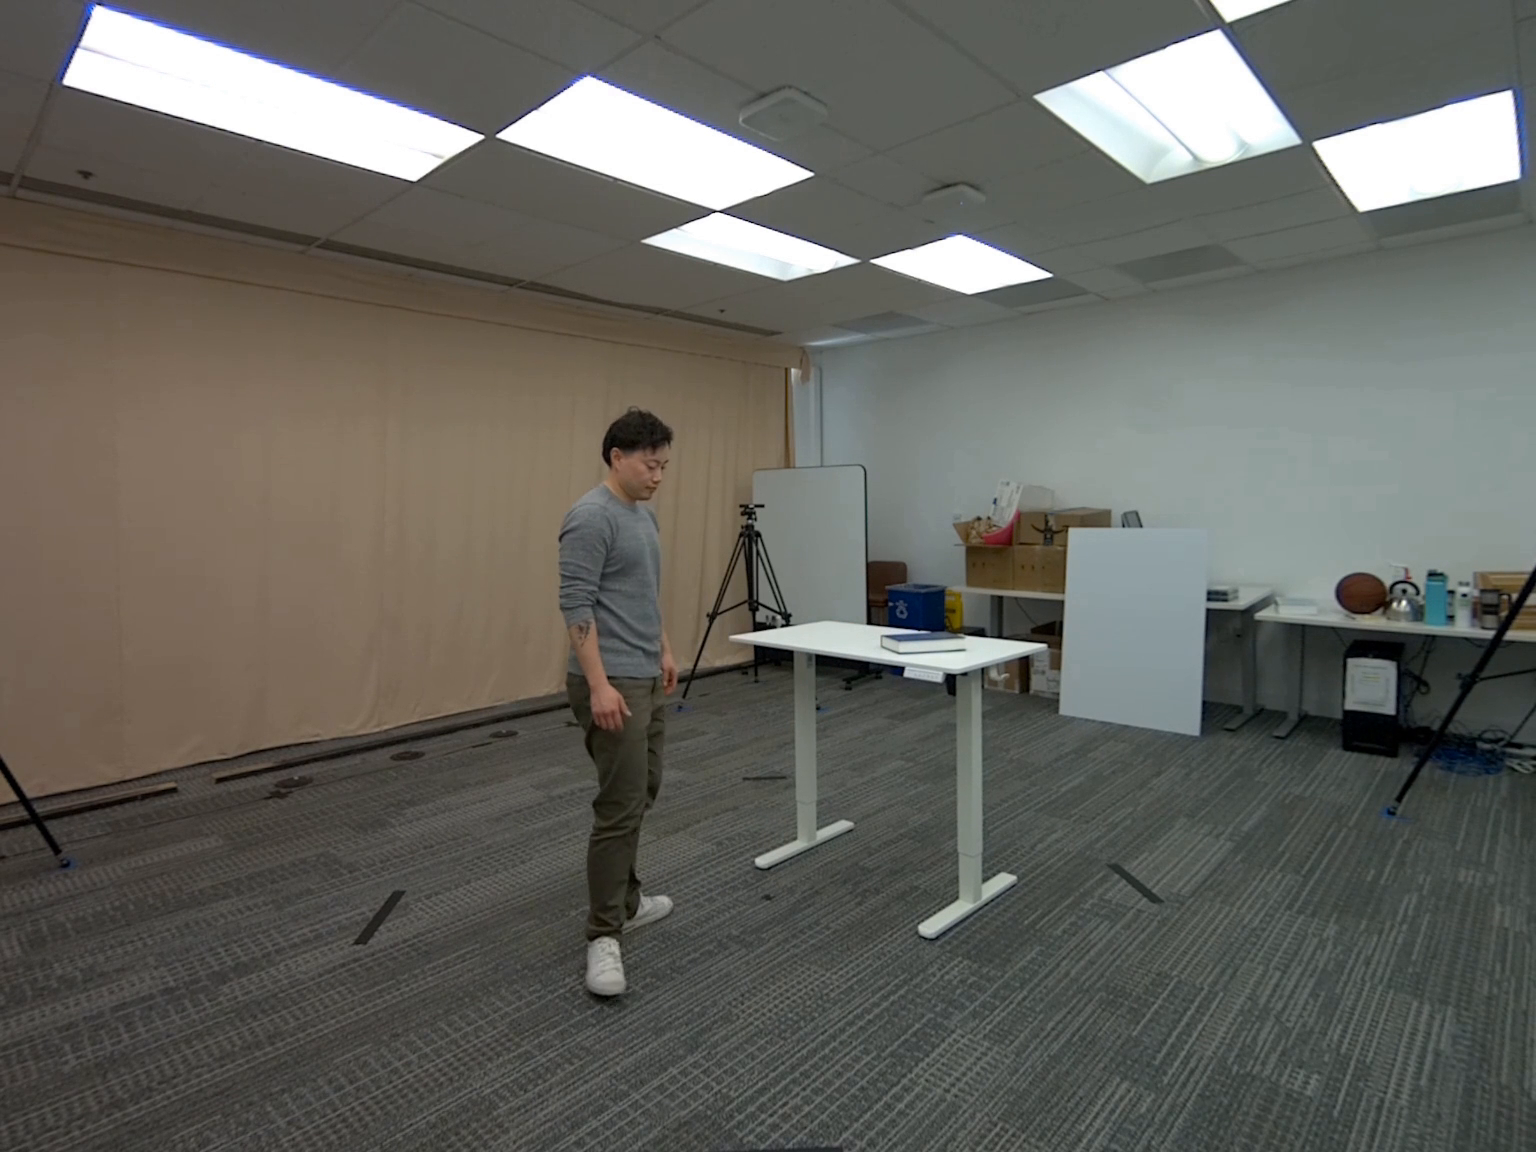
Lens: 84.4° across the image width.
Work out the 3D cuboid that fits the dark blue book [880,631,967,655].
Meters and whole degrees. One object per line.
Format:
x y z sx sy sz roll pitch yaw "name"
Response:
0.541 0.232 2.909 0.242 0.045 0.165 0 3 -11 "dark blue book"
